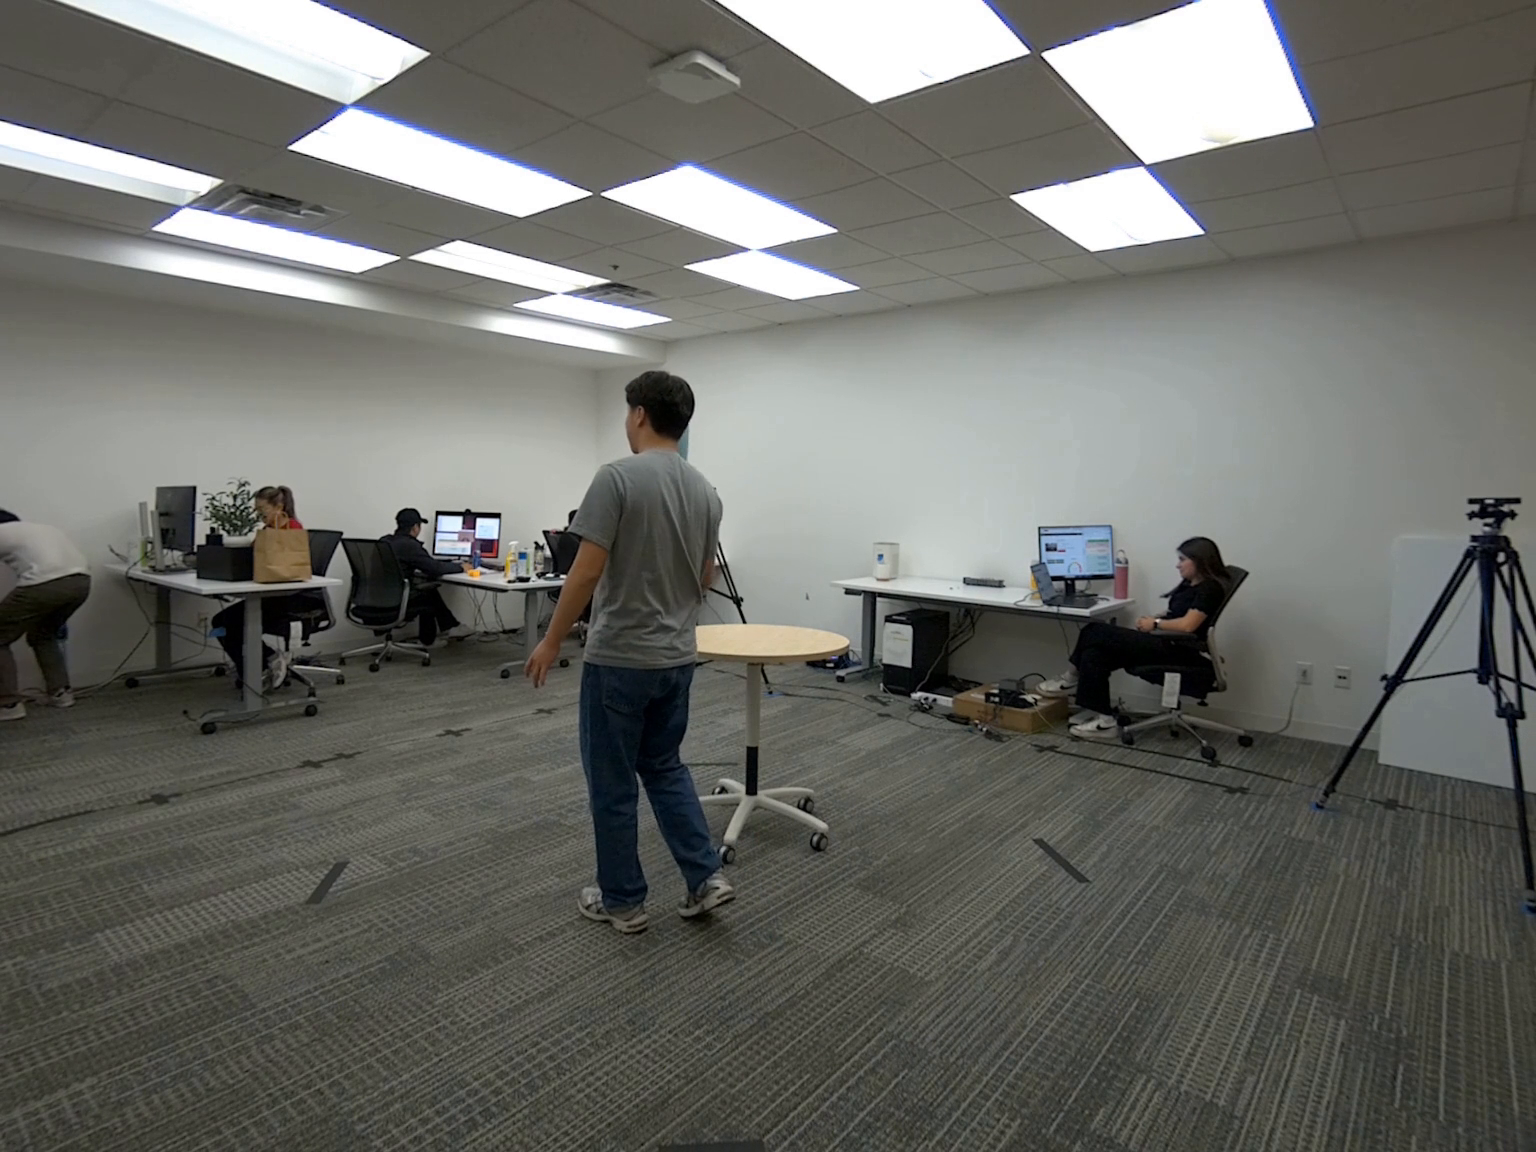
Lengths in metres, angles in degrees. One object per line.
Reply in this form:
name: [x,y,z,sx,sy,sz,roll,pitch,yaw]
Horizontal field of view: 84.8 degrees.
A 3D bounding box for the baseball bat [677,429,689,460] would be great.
baseball bat: [-0.347,-0.355,3.059,0.089,0.540,0.090,2,6,-2]
